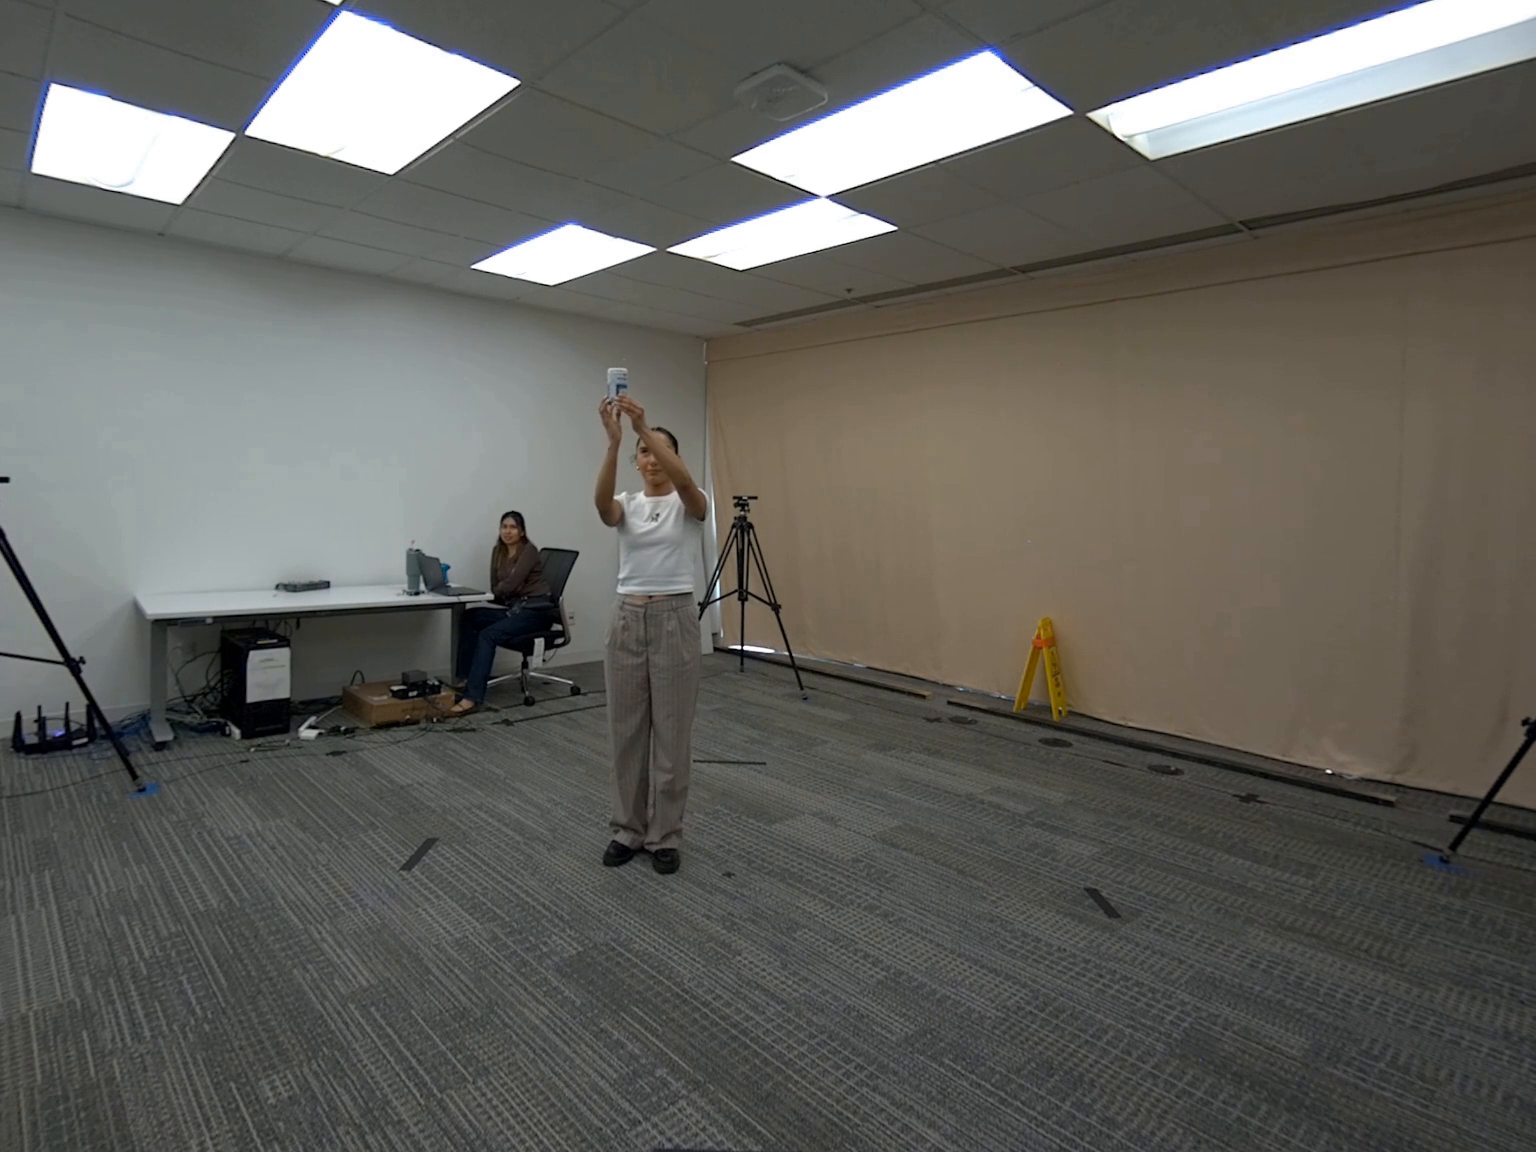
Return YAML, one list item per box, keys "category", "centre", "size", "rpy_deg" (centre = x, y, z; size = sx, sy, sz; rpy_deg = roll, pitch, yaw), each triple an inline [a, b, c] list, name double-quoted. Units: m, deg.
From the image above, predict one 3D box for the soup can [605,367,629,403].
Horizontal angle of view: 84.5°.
- category: "soup can"
  centre: [-0.515, -0.636, 2.823]
  size: [0.067, 0.121, 0.067]
  rpy_deg: [-1, 5, -1]
